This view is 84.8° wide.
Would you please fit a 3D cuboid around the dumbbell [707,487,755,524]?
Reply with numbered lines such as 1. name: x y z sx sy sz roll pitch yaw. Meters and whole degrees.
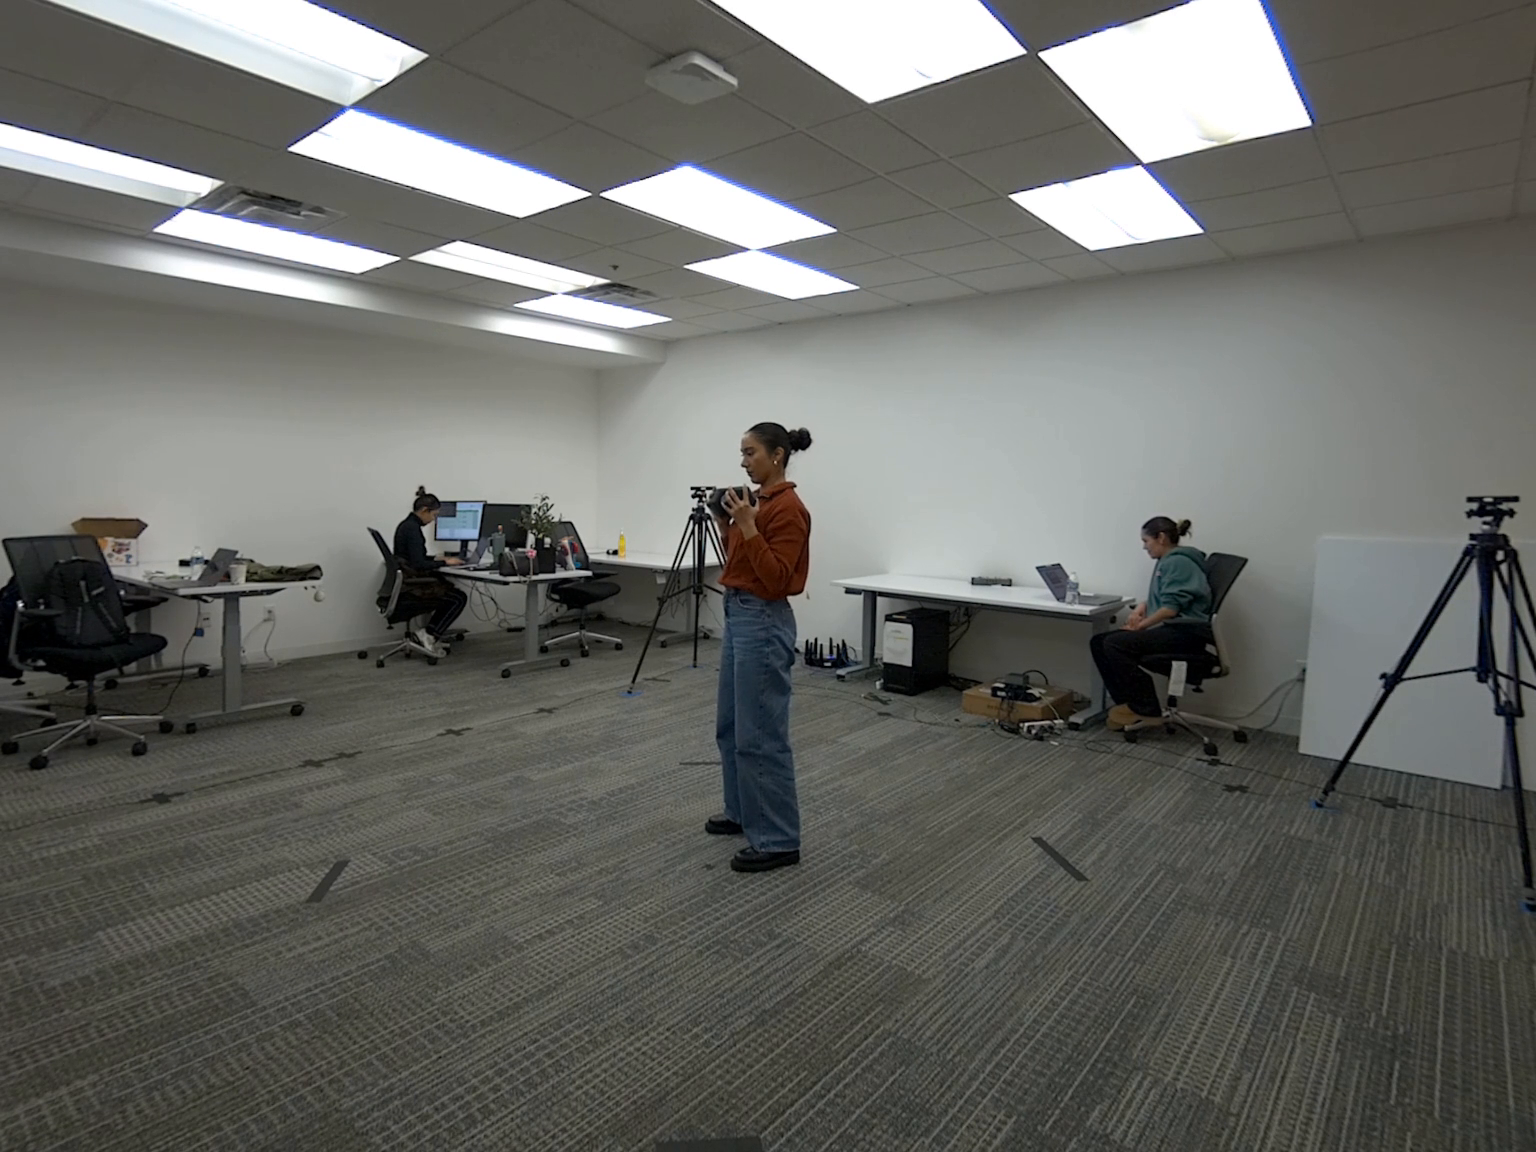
1. dumbbell: -0.149 -0.288 3.239 0.107 0.123 0.297 30 -11 -14
